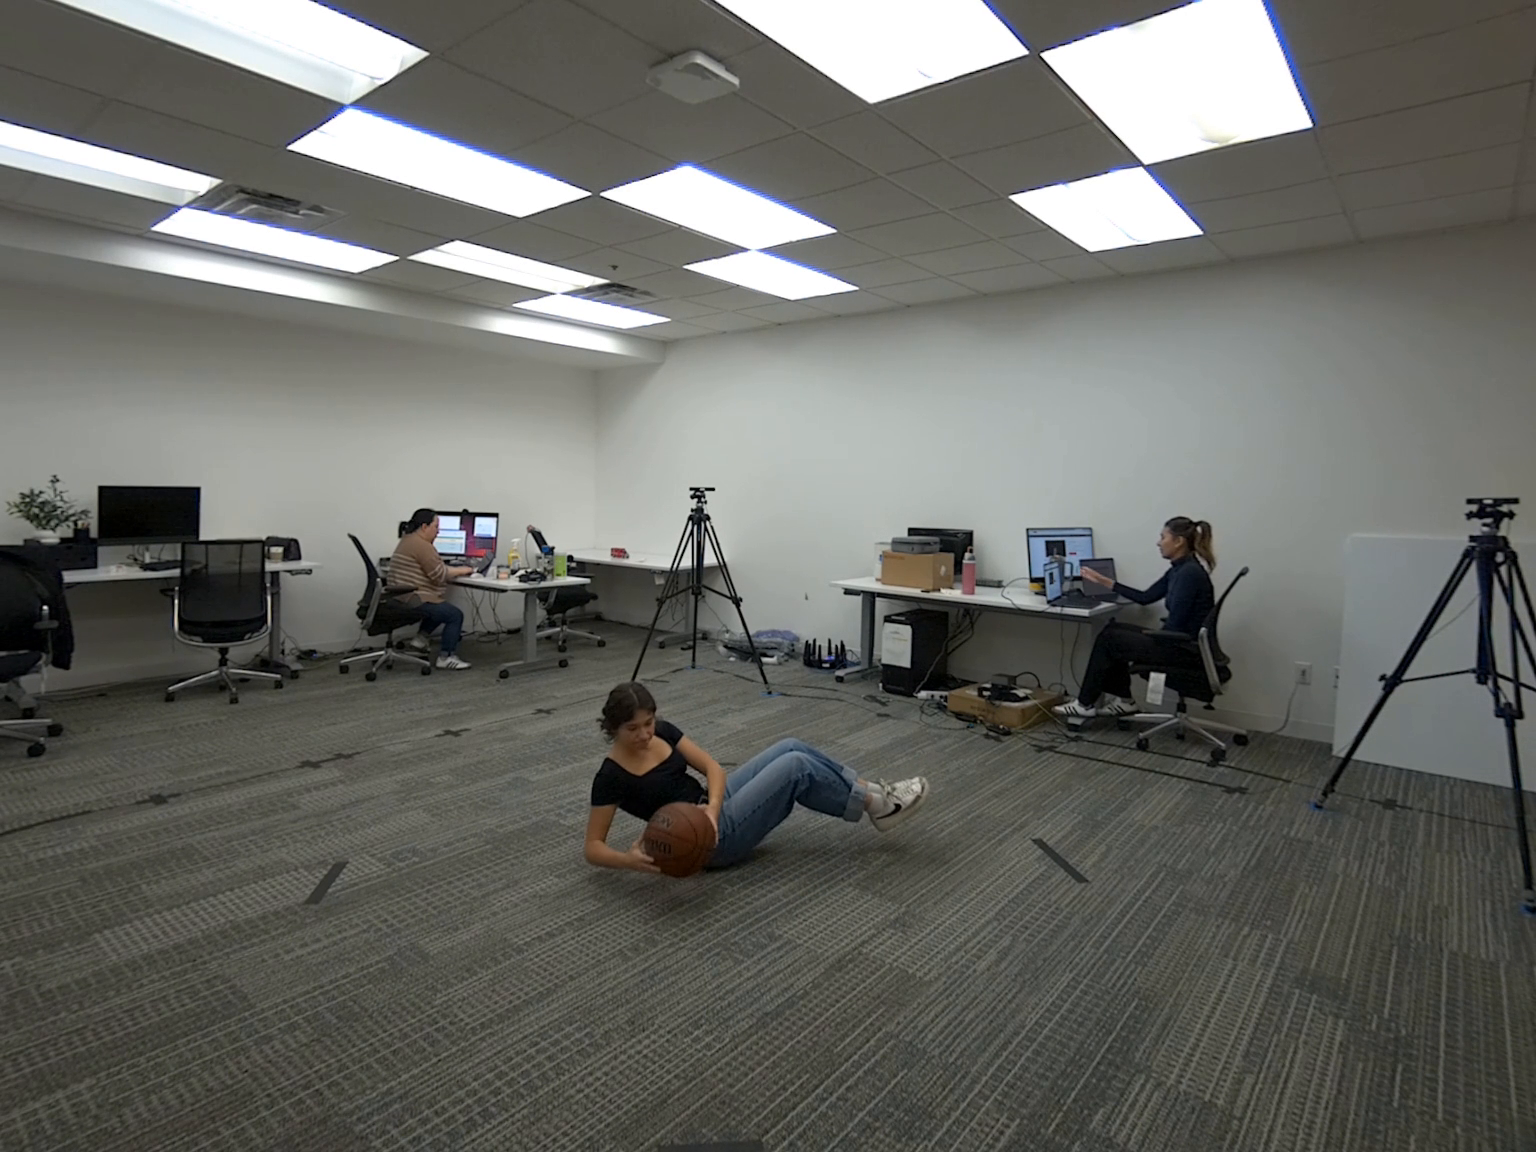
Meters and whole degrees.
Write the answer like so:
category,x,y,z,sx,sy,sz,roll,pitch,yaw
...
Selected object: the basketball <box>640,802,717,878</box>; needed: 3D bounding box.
category,x,y,z,sx,sy,sz,roll,pitch,yaw
basketball,-0.296,0.860,2.862,0.235,0.235,0.237,1,4,-2
